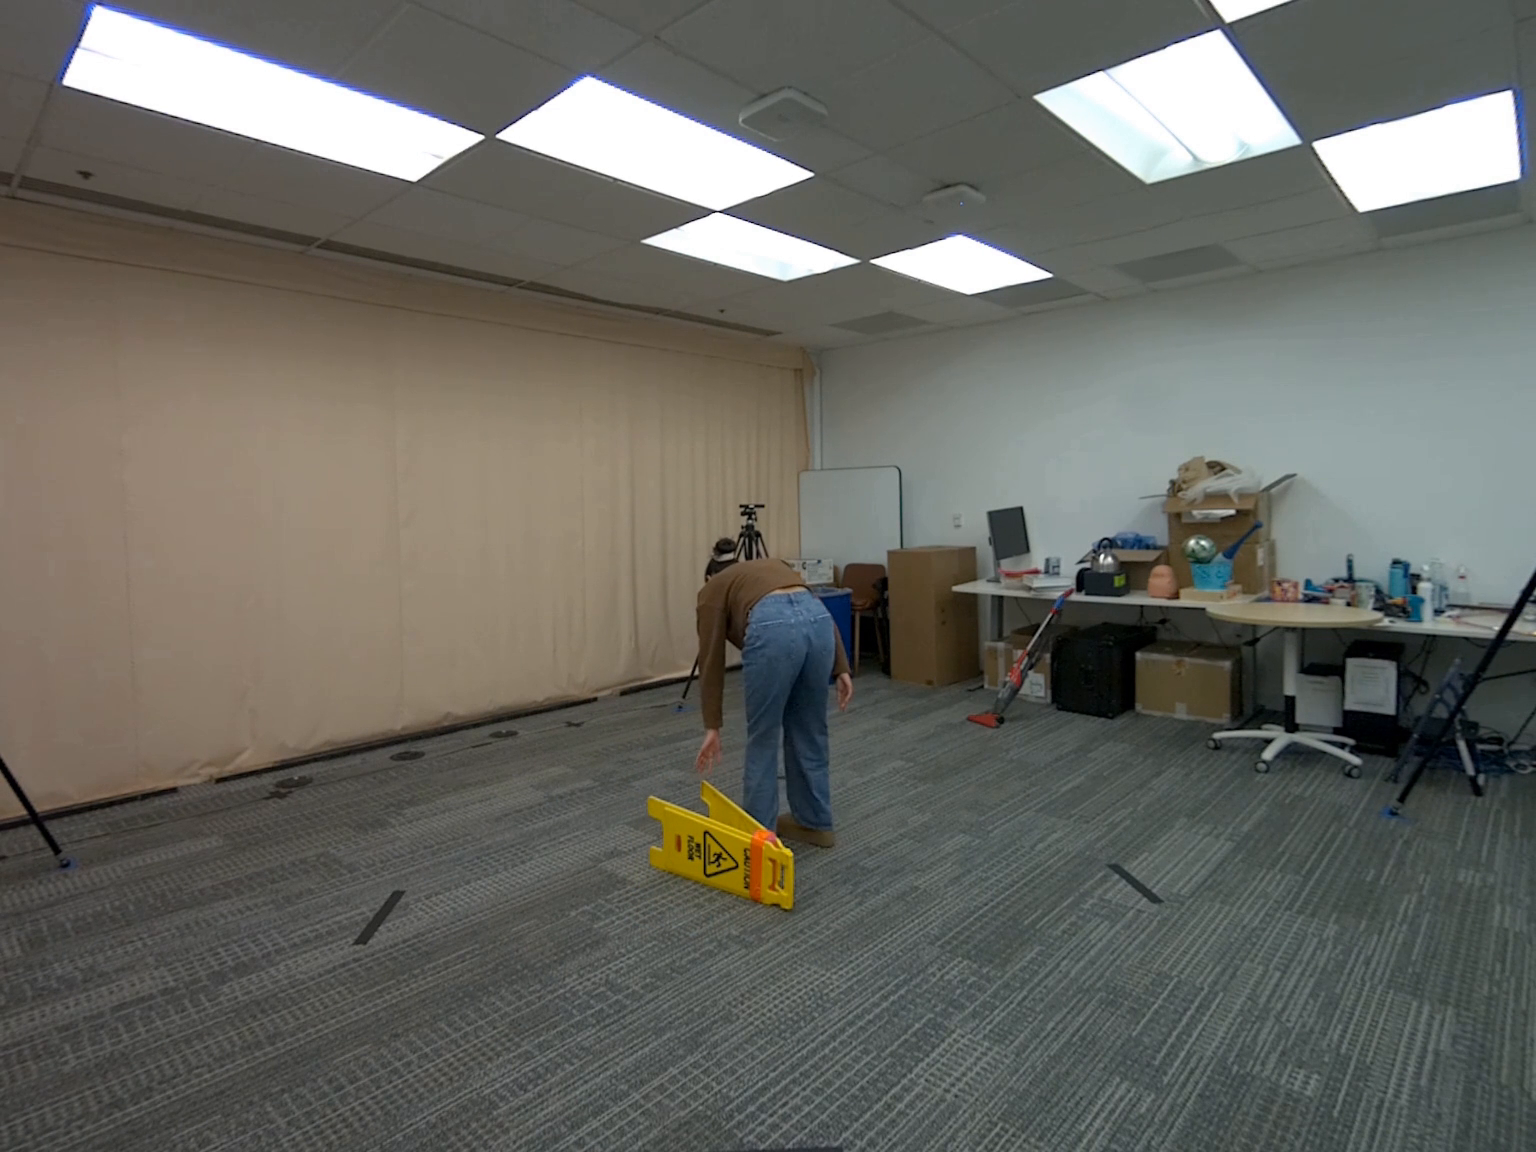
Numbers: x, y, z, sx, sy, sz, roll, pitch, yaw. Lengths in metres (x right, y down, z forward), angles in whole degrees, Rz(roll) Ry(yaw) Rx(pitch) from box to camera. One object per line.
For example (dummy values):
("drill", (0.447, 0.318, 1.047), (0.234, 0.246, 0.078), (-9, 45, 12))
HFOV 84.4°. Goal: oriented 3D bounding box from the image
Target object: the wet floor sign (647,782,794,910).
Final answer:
("wet floor sign", (-0.136, 1.003, 3.106), (0.281, 0.281, 0.668), (-5, 9, -42))
